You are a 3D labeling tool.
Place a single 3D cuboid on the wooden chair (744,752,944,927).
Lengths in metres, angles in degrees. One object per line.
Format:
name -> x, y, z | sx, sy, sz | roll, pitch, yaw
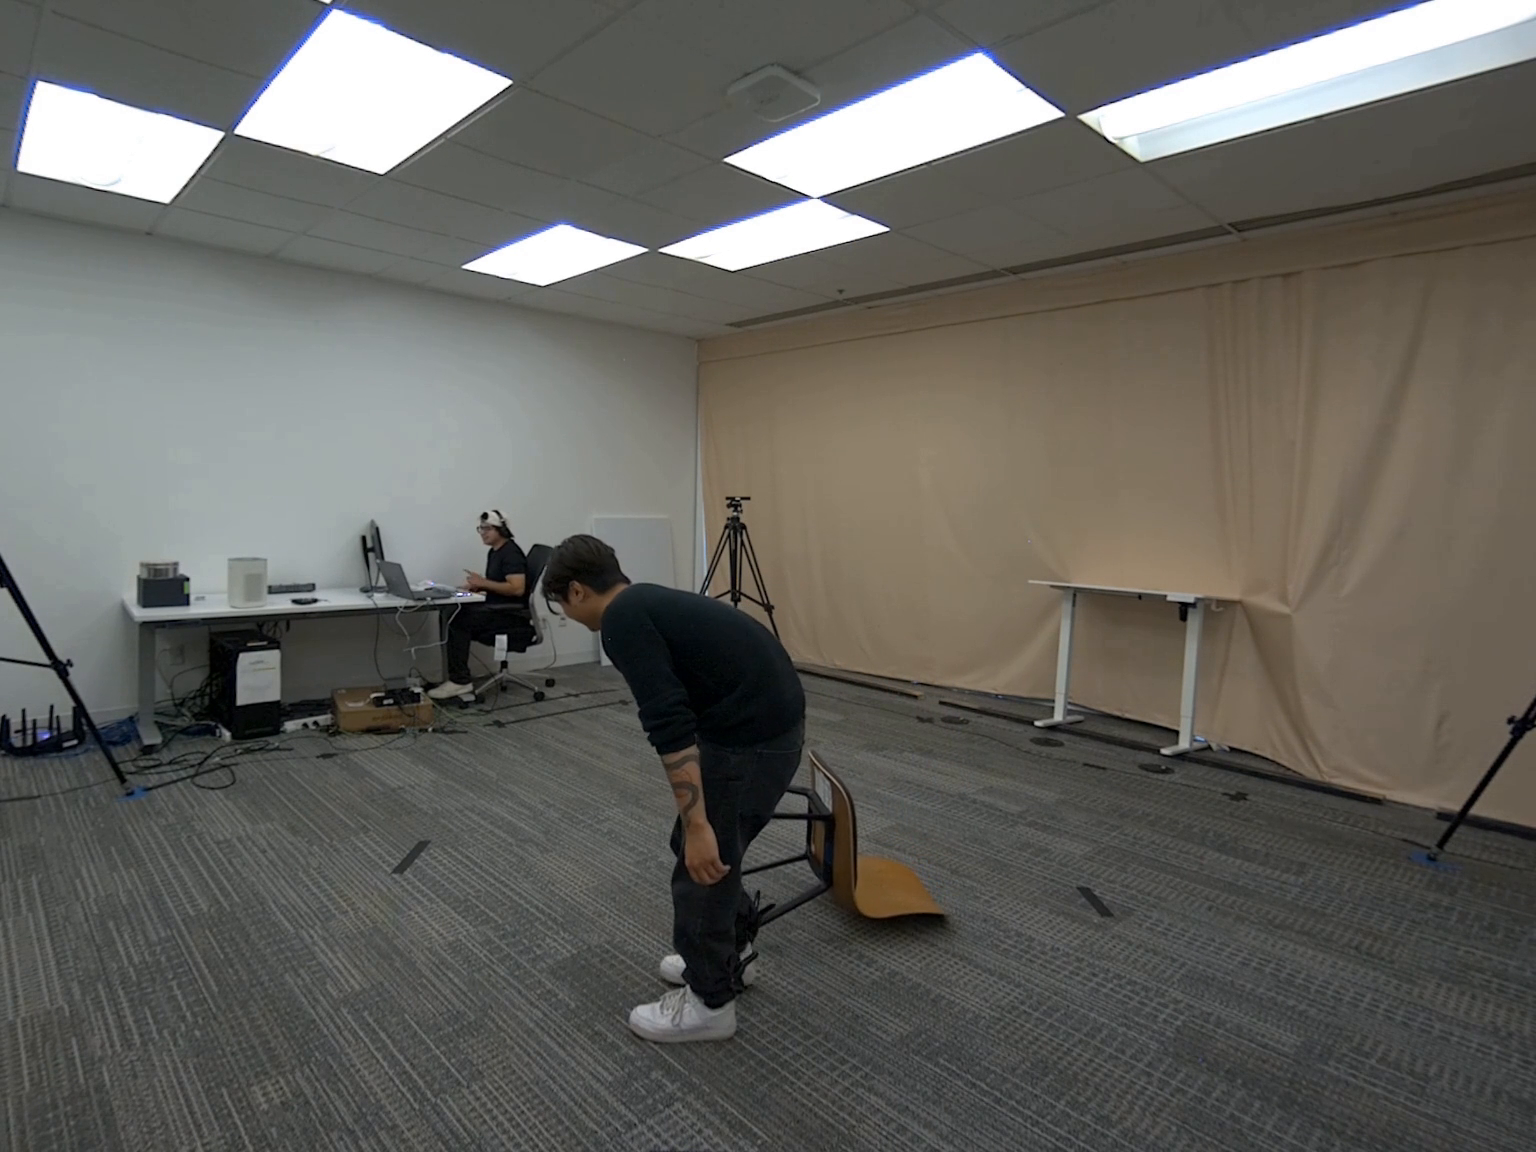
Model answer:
wooden chair -> 0.166, 0.880, 2.819 | 0.870, 0.522, 0.483 | 2, 4, -10
